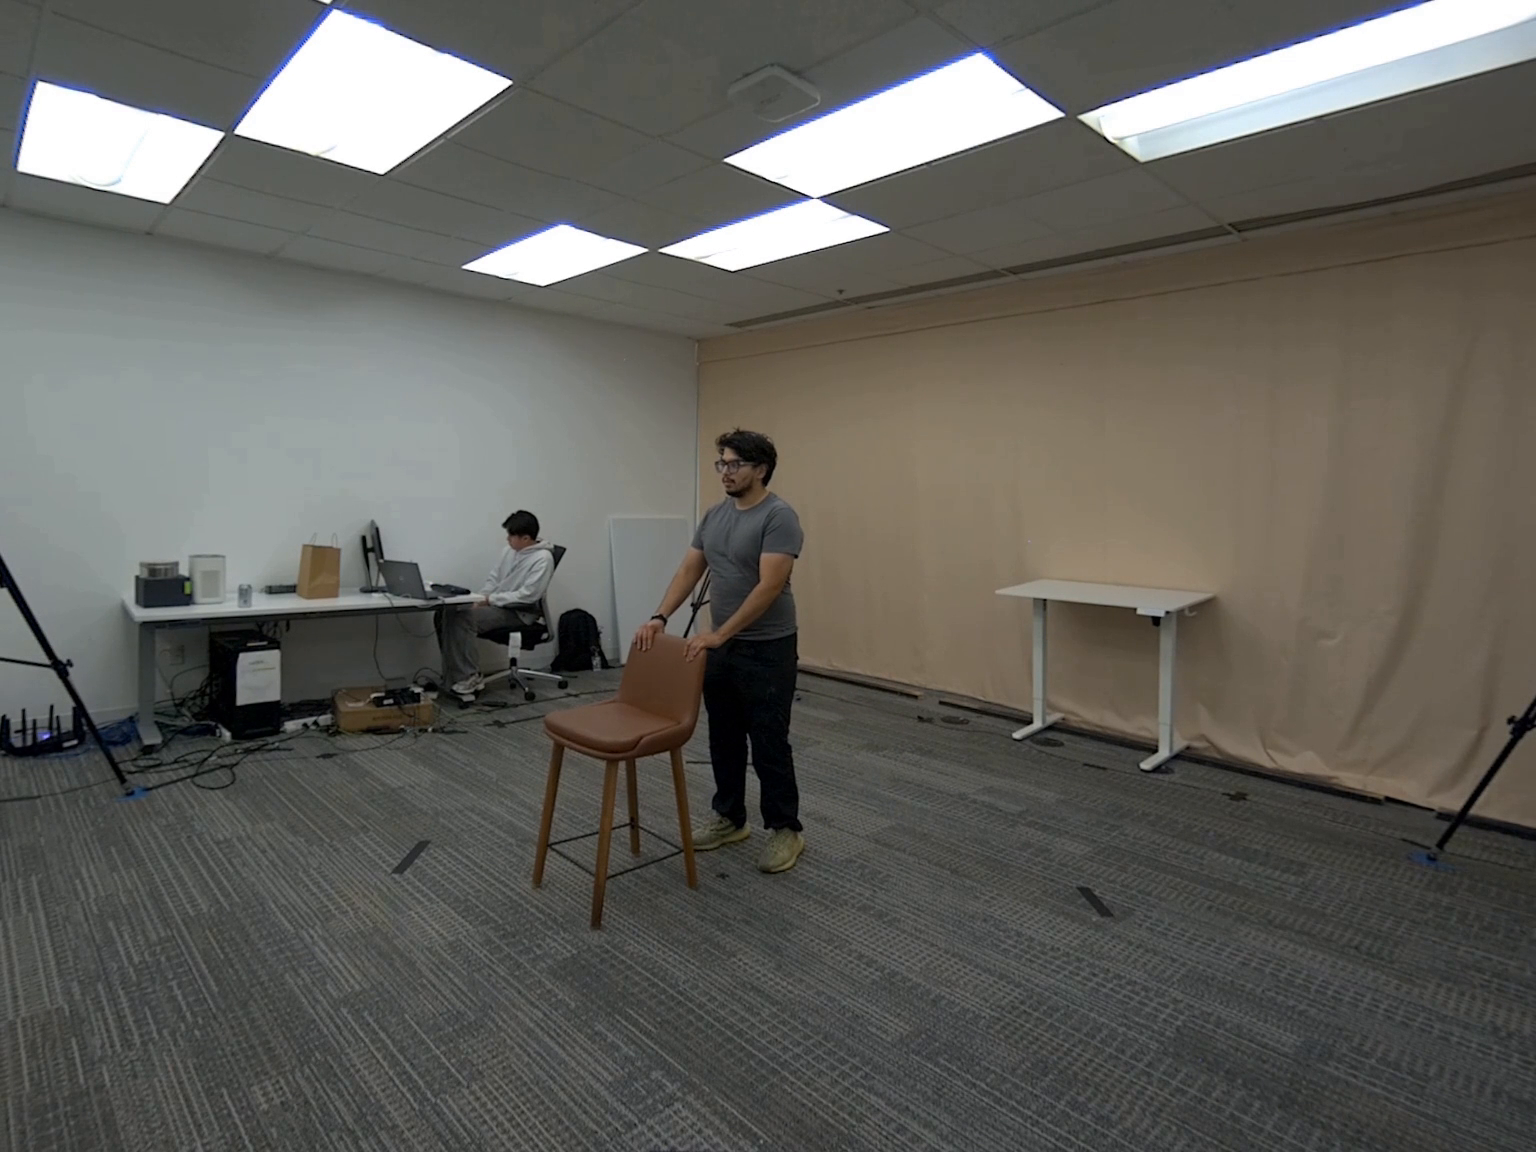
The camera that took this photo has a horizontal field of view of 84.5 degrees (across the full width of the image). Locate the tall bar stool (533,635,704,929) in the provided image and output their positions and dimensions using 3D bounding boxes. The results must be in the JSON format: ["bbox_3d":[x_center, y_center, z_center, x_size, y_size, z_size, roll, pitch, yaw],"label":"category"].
[{"bbox_3d":[-0.518,0.671,2.966,0.456,0.888,0.468,1,4,-43],"label":"tall bar stool"}]
